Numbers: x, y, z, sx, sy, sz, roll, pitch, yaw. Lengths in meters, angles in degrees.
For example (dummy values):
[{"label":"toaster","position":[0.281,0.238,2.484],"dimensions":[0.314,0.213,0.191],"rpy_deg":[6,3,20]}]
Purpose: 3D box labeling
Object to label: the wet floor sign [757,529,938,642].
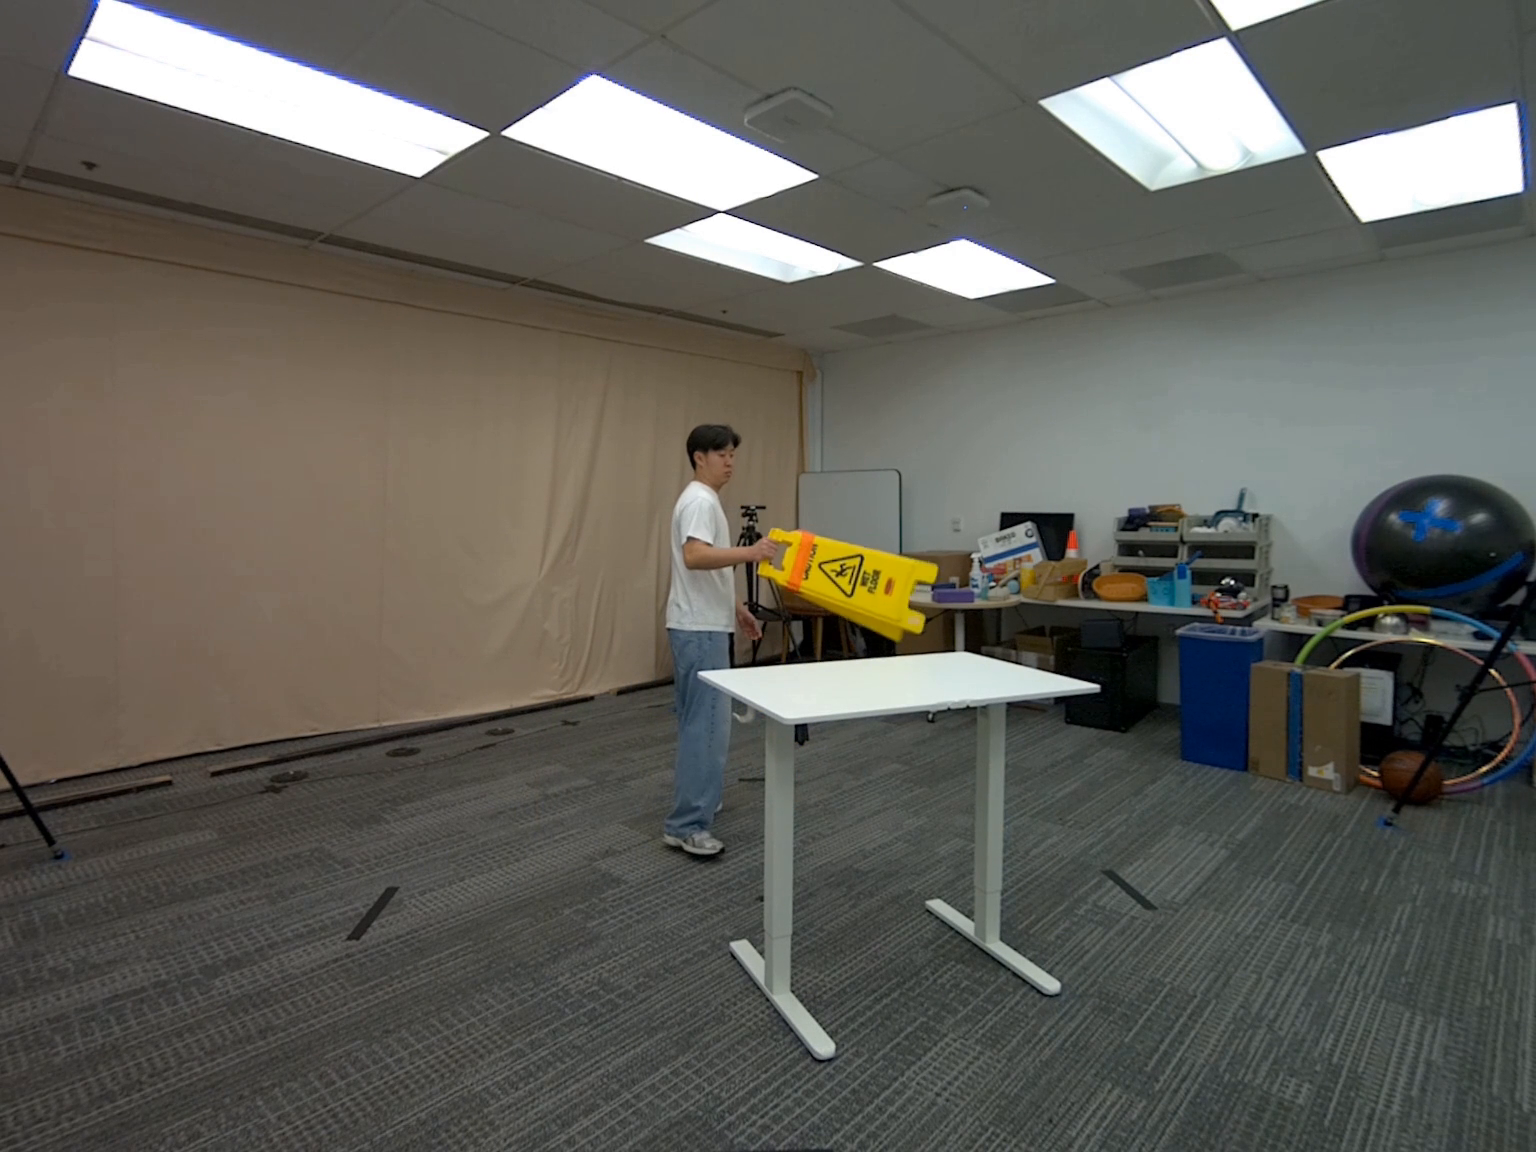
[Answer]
[{"label":"wet floor sign","position":[0.283,0.021,3.297],"dimensions":[0.643,0.283,0.290],"rpy_deg":[21,-14,-4]}]
